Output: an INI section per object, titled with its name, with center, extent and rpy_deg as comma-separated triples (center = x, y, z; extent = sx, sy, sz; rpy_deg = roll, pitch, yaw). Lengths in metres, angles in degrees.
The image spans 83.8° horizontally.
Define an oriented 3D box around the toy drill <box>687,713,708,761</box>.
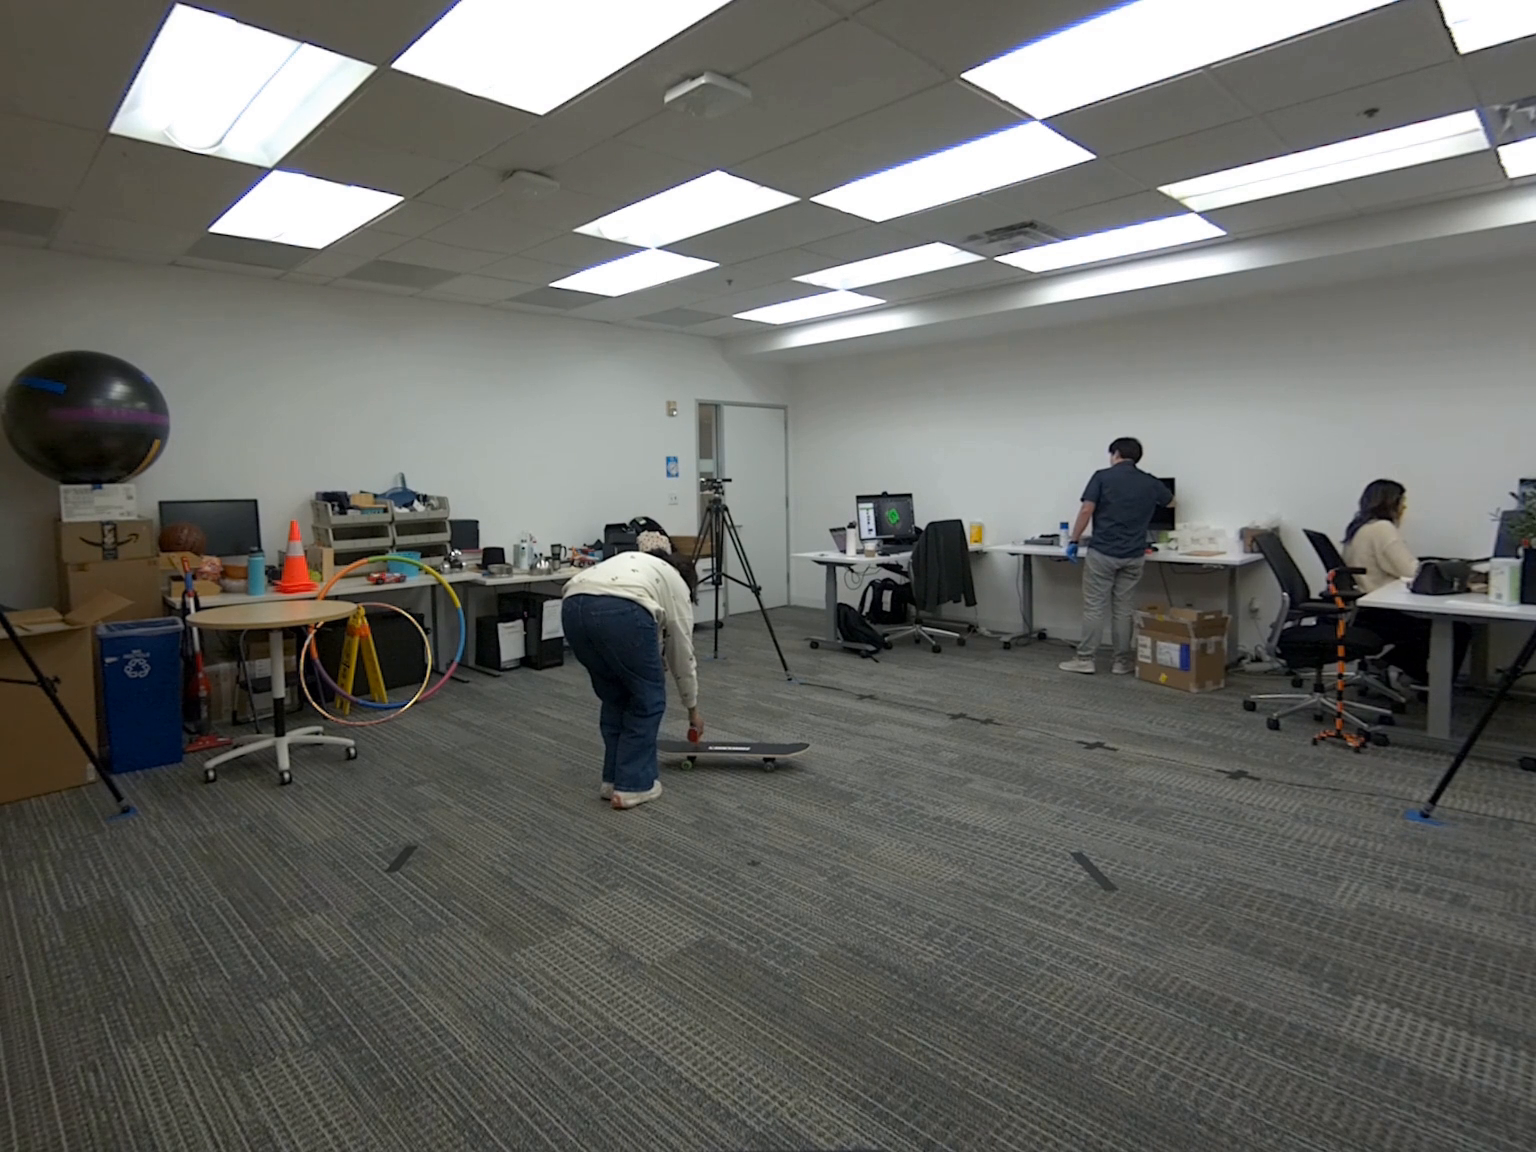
[toy drill]
center = -0.344, 0.776, 4.164
extent = 0.061, 0.167, 0.147
rpy_deg = 6, 20, 5
